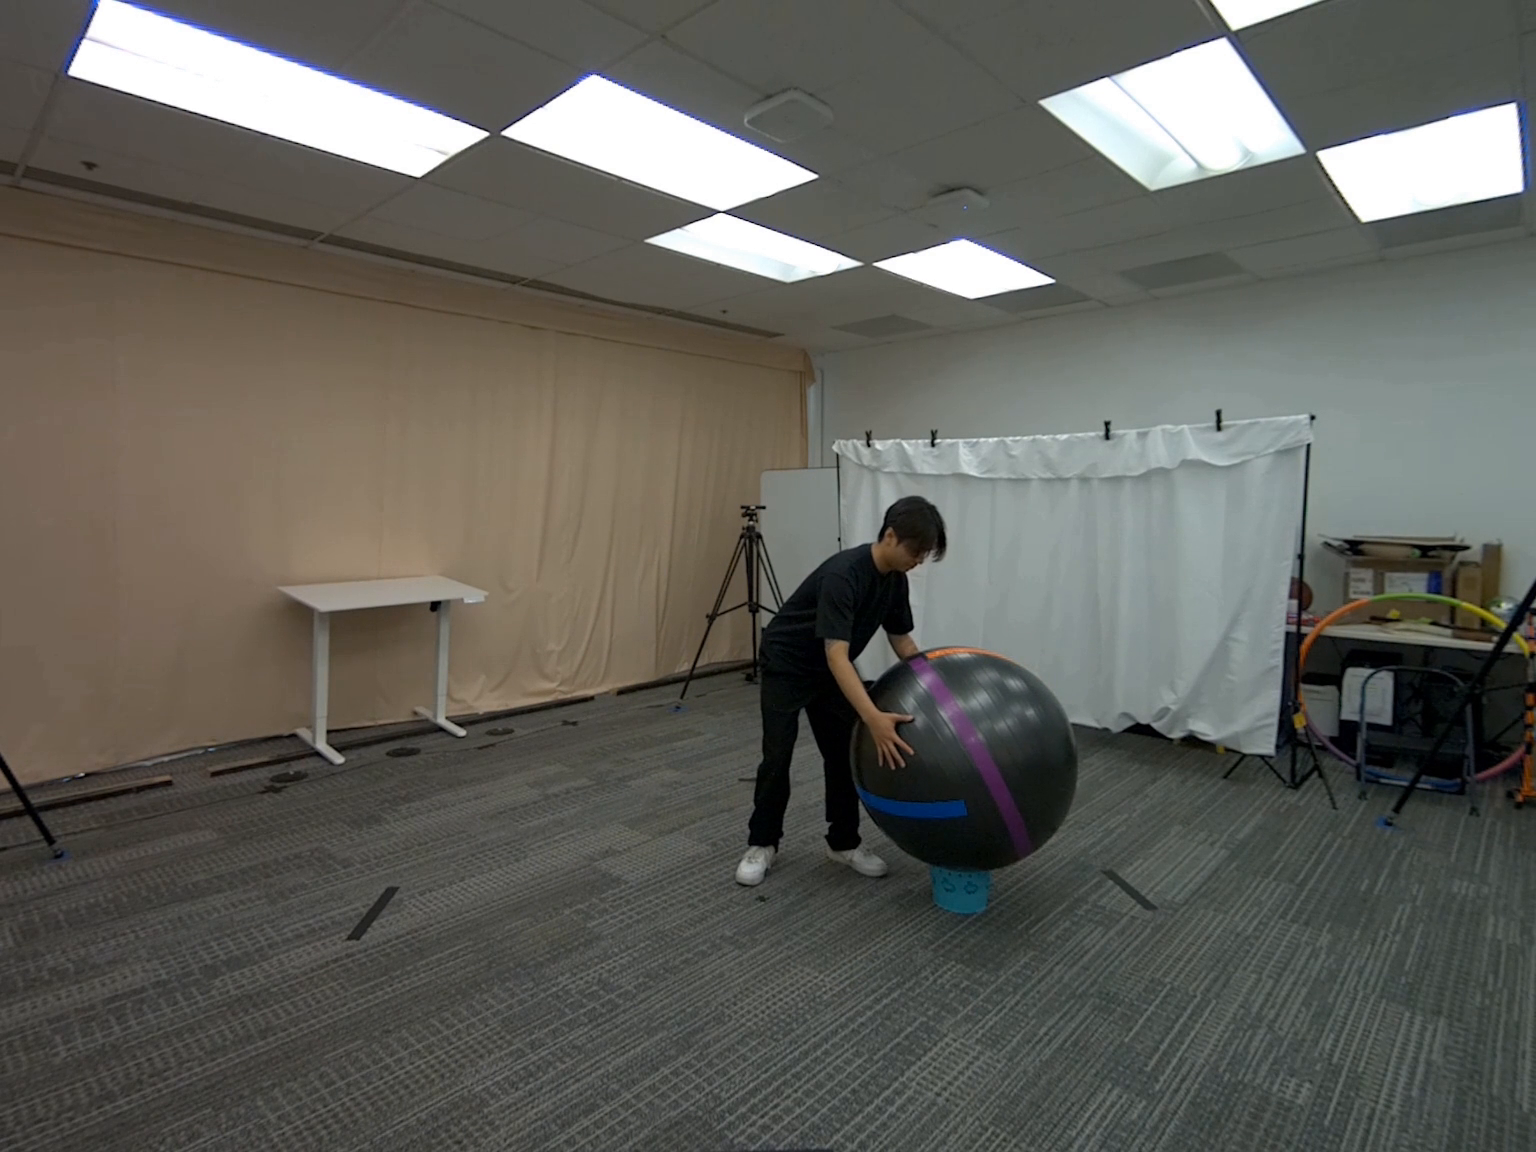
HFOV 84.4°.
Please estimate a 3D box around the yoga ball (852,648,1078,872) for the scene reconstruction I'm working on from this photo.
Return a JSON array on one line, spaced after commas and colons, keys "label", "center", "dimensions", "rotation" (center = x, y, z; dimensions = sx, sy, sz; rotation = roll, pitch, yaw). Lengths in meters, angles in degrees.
[{"label": "yoga ball", "center": [0.689, 0.638, 2.939], "dimensions": [0.757, 0.756, 0.760], "rotation": [0, 4, -2]}]
